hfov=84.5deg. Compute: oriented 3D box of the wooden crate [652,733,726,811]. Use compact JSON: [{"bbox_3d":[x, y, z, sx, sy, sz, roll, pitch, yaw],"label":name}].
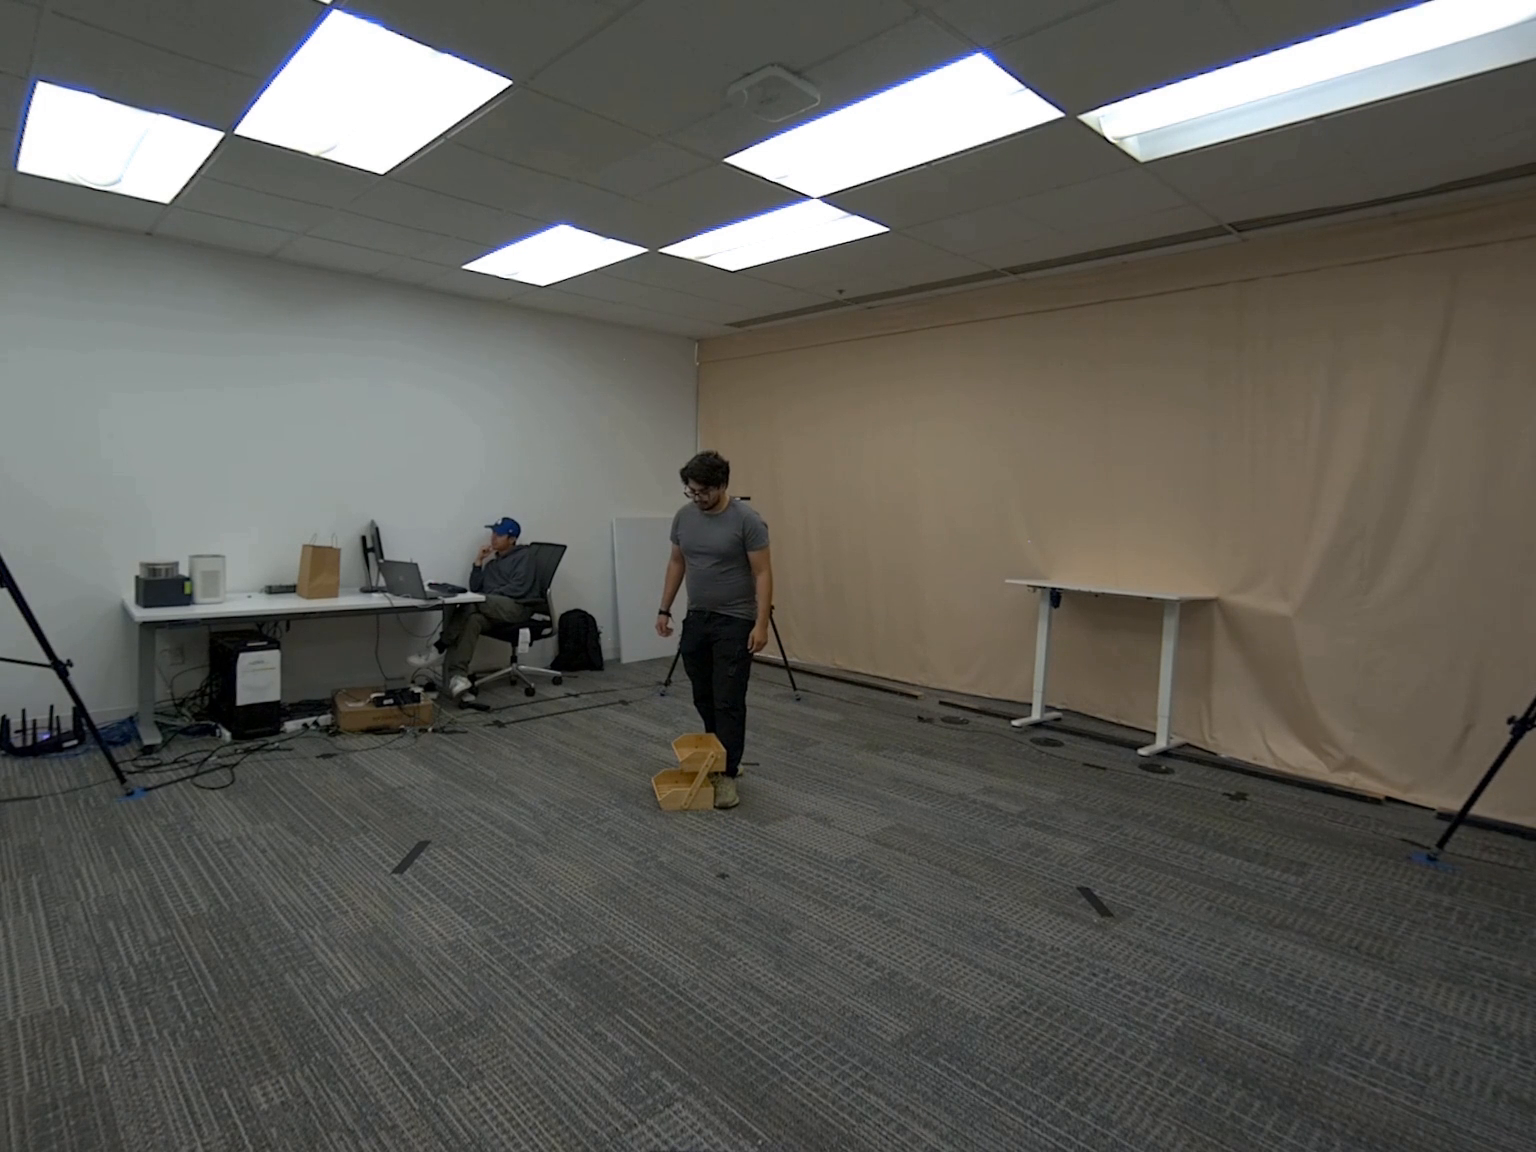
[{"bbox_3d":[-0.390,0.900,3.908,0.299,0.272,0.328,2,4,-13],"label":"wooden crate"}]
